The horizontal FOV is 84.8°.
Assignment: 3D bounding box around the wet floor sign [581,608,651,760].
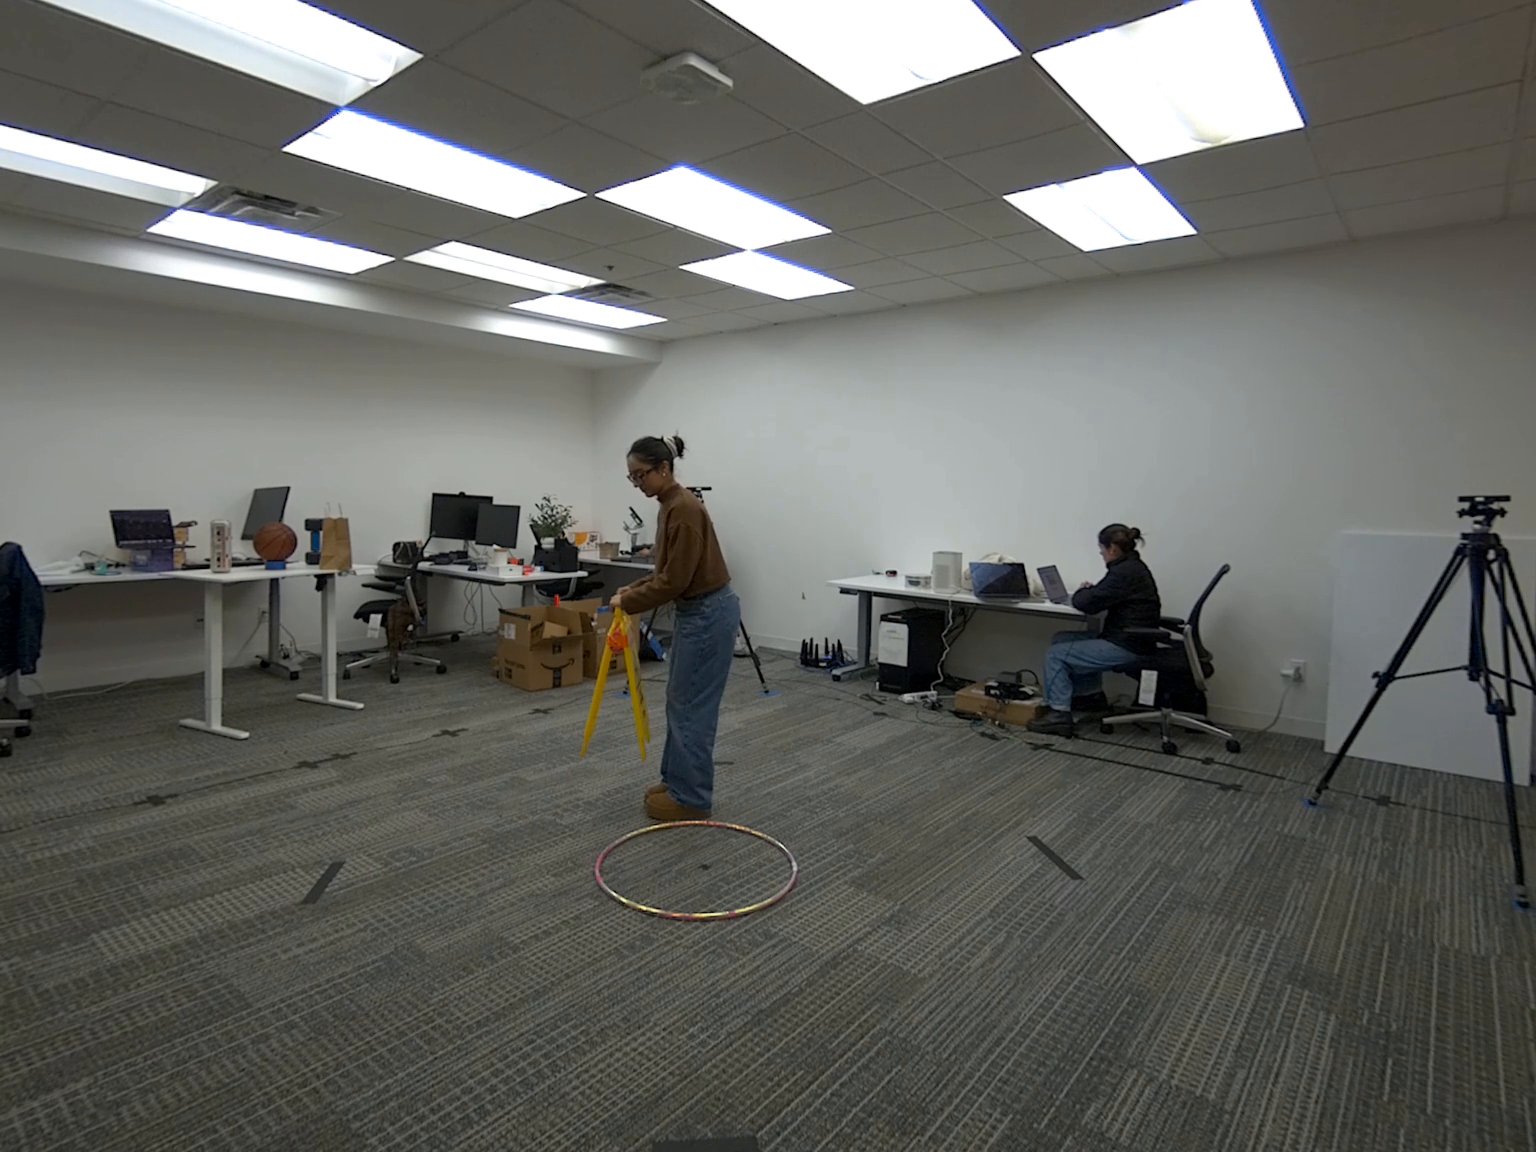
[{"bbox_3d":[-0.654,0.424,3.636,0.289,0.642,0.284,2,7,-2],"label":"wet floor sign"}]
